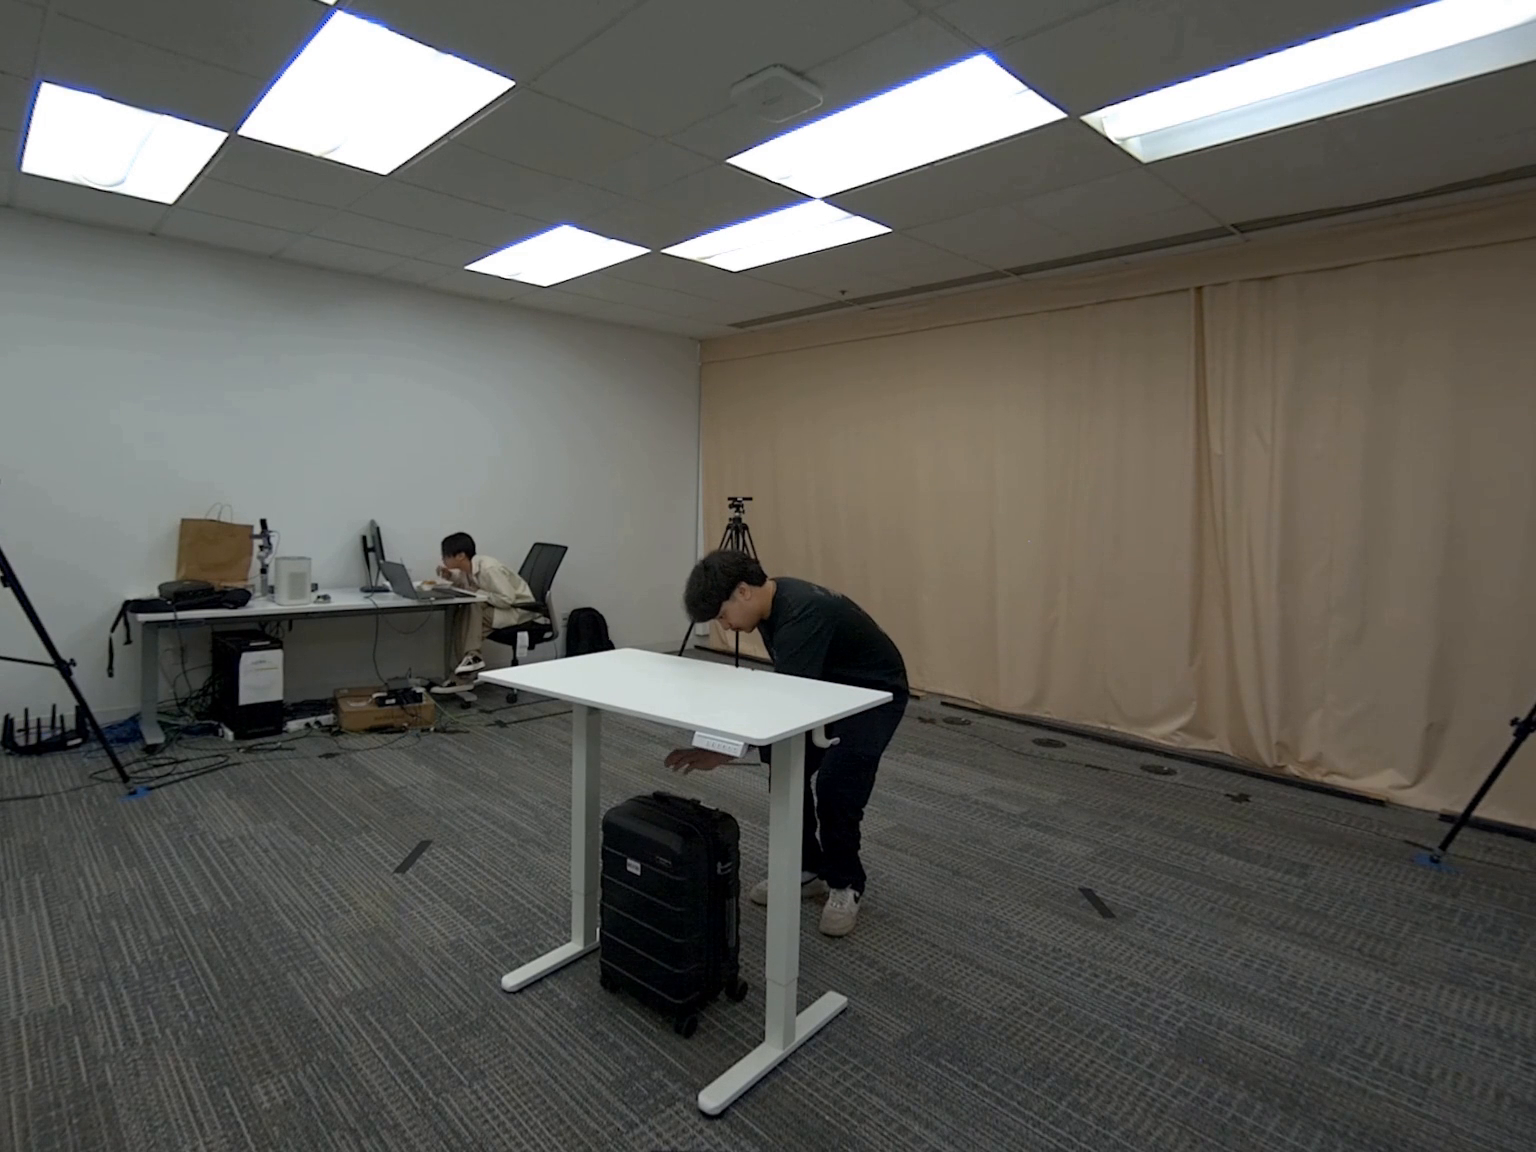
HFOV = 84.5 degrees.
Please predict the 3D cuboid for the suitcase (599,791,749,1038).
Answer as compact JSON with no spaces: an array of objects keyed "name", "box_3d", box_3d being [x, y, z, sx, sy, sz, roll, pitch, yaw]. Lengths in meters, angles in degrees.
[{"name":"suitcase","box_3d":[-0.274,0.904,2.322,0.385,0.547,0.243,5,7,40]}]
